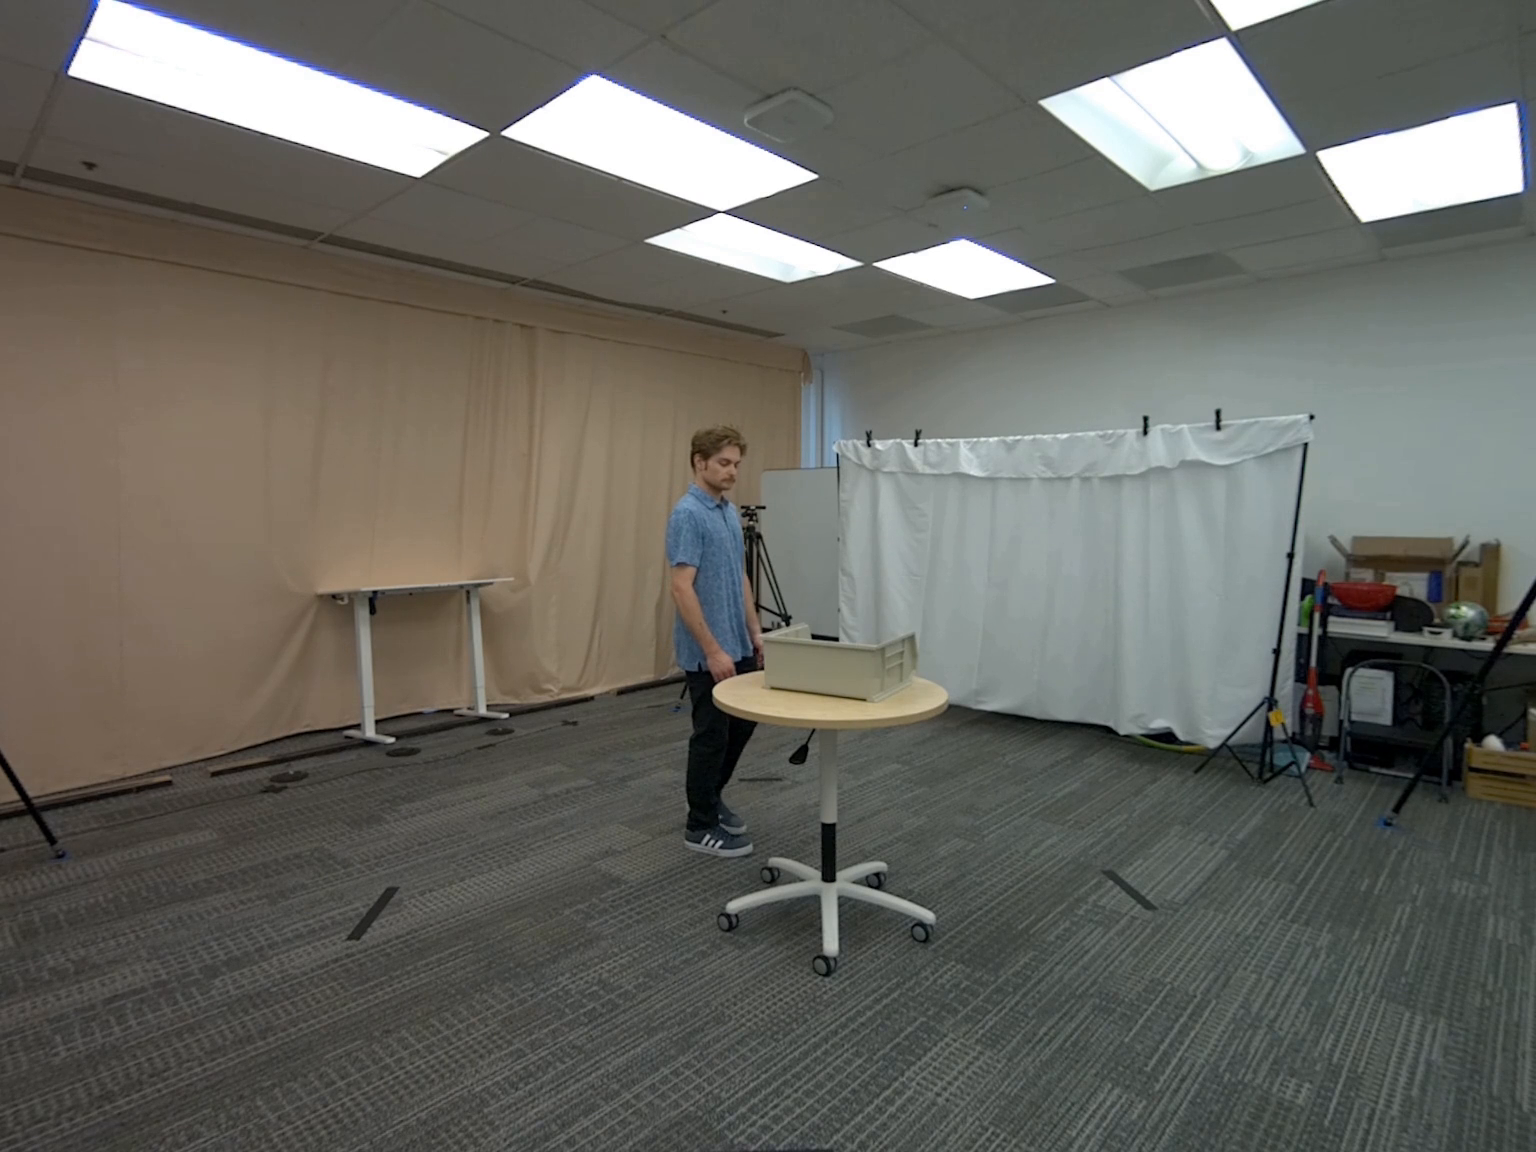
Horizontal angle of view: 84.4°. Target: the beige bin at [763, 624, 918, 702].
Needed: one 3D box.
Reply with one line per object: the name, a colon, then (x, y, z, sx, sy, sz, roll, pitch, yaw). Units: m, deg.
beige bin: (0.248, 0.283, 2.847, 0.435, 0.188, 0.368, 3, 7, 31)
